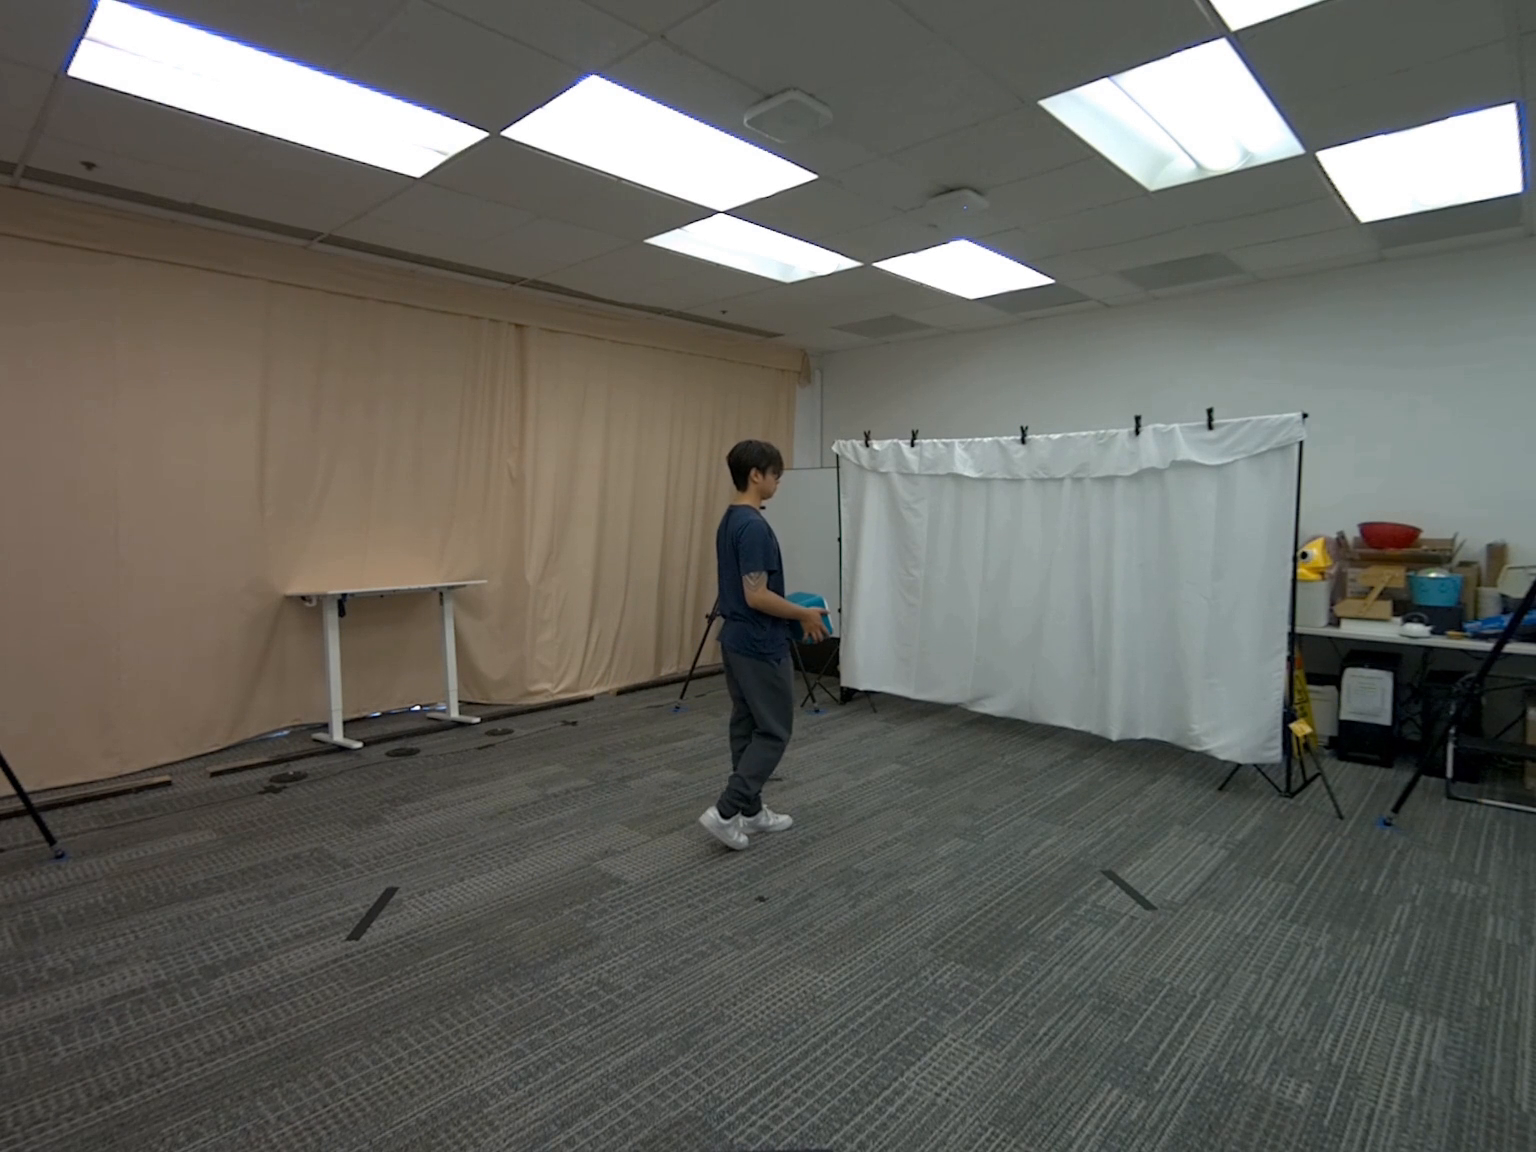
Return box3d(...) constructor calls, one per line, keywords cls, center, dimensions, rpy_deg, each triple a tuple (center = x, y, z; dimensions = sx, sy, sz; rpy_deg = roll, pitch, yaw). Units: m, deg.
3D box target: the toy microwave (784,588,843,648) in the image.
box3d(cls="toy microwave", center=(0.163, 0.173, 3.599), dimensions=(0.150, 0.183, 0.291), rpy_deg=(-18, 8, -16))
